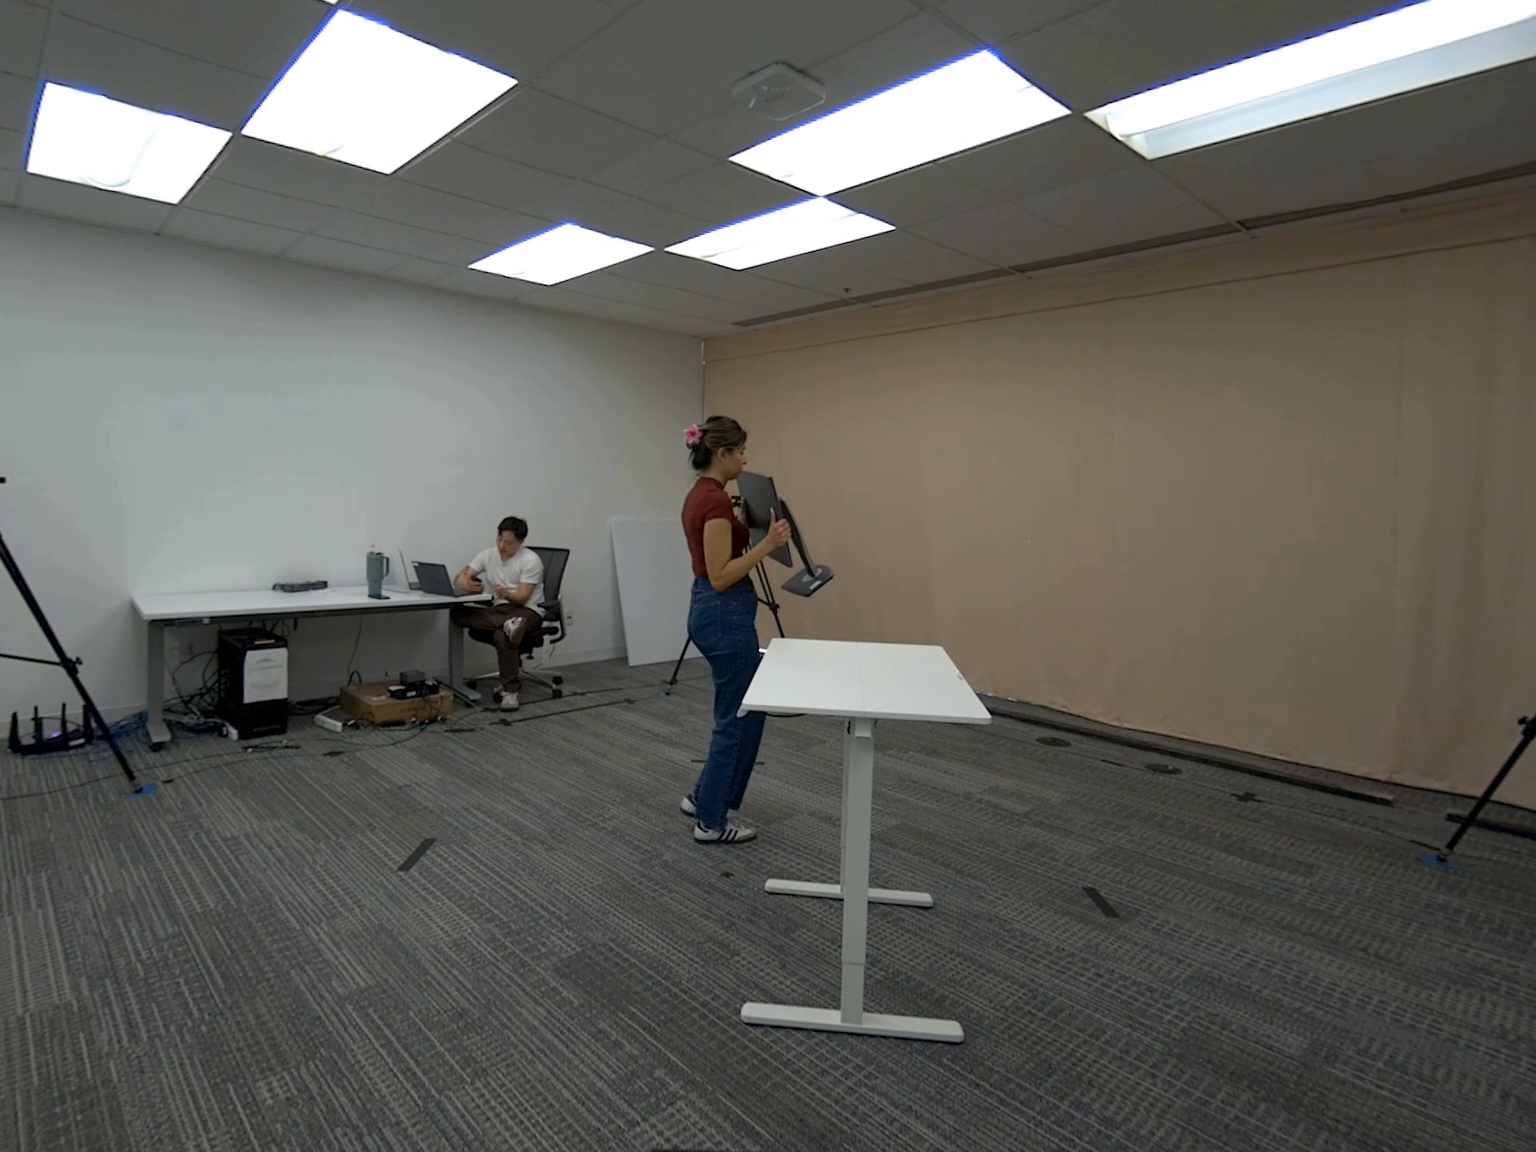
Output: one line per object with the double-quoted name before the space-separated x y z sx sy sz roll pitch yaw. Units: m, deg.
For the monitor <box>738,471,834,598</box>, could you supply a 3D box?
"monitor" 0.039 -0.186 3.408 0.186 0.515 0.549 -32 15 -12
